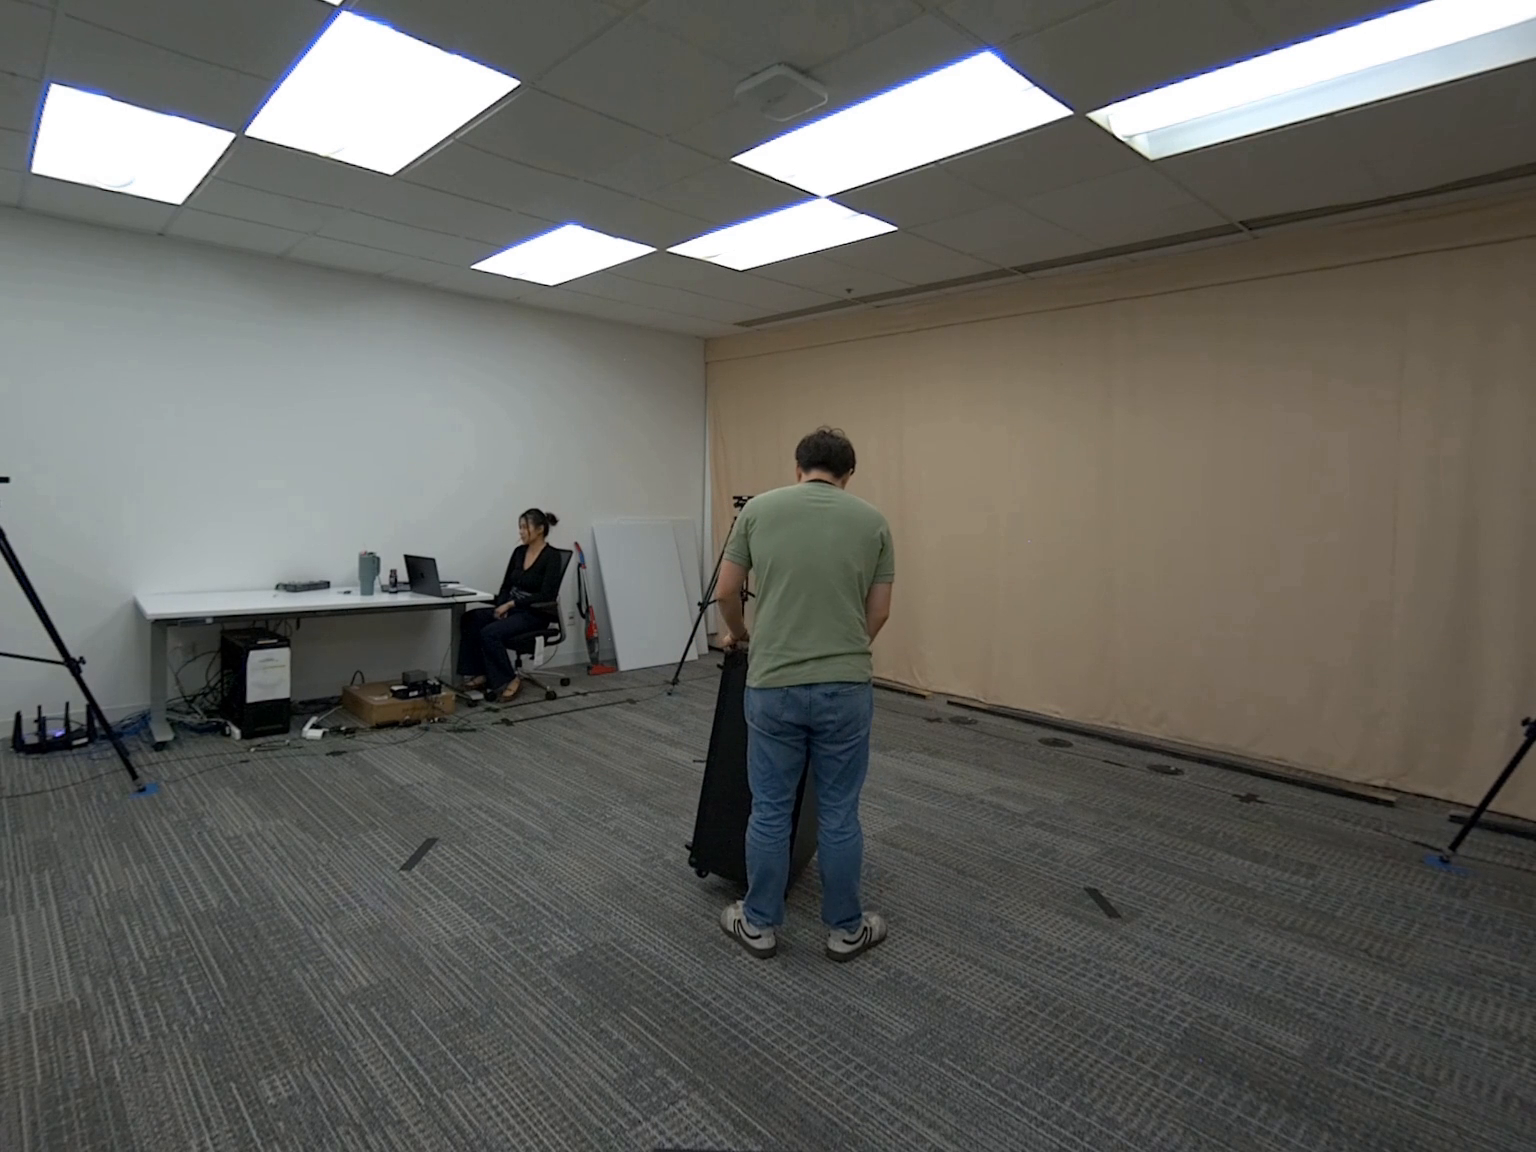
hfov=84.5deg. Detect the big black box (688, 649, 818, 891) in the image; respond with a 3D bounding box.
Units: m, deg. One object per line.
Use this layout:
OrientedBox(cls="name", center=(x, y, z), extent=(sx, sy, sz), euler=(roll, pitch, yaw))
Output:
OrientedBox(cls="big black box", center=(0.003, 0.675, 3.032), extent=(0.403, 0.858, 0.514), euler=(11, 6, 19))
